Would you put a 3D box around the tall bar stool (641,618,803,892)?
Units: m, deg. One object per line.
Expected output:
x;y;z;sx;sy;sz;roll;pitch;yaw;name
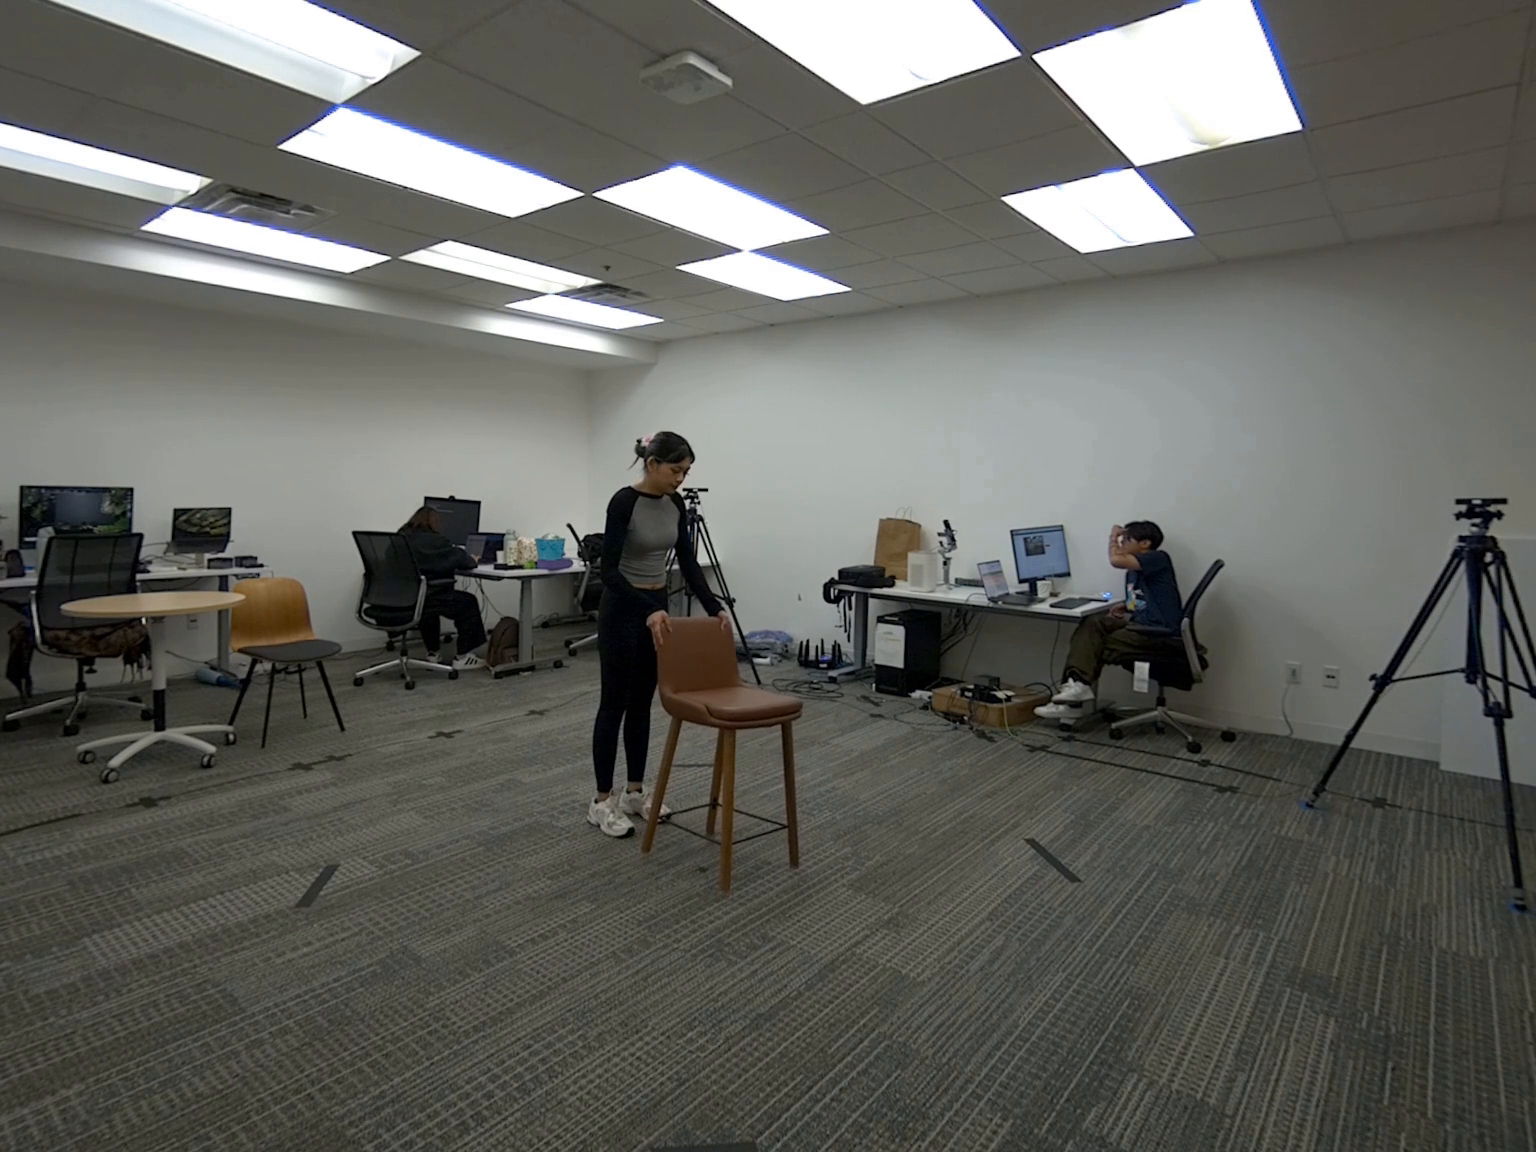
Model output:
-0.167;0.614;3.170;0.482;0.892;0.441;0;-3;42;tall bar stool
